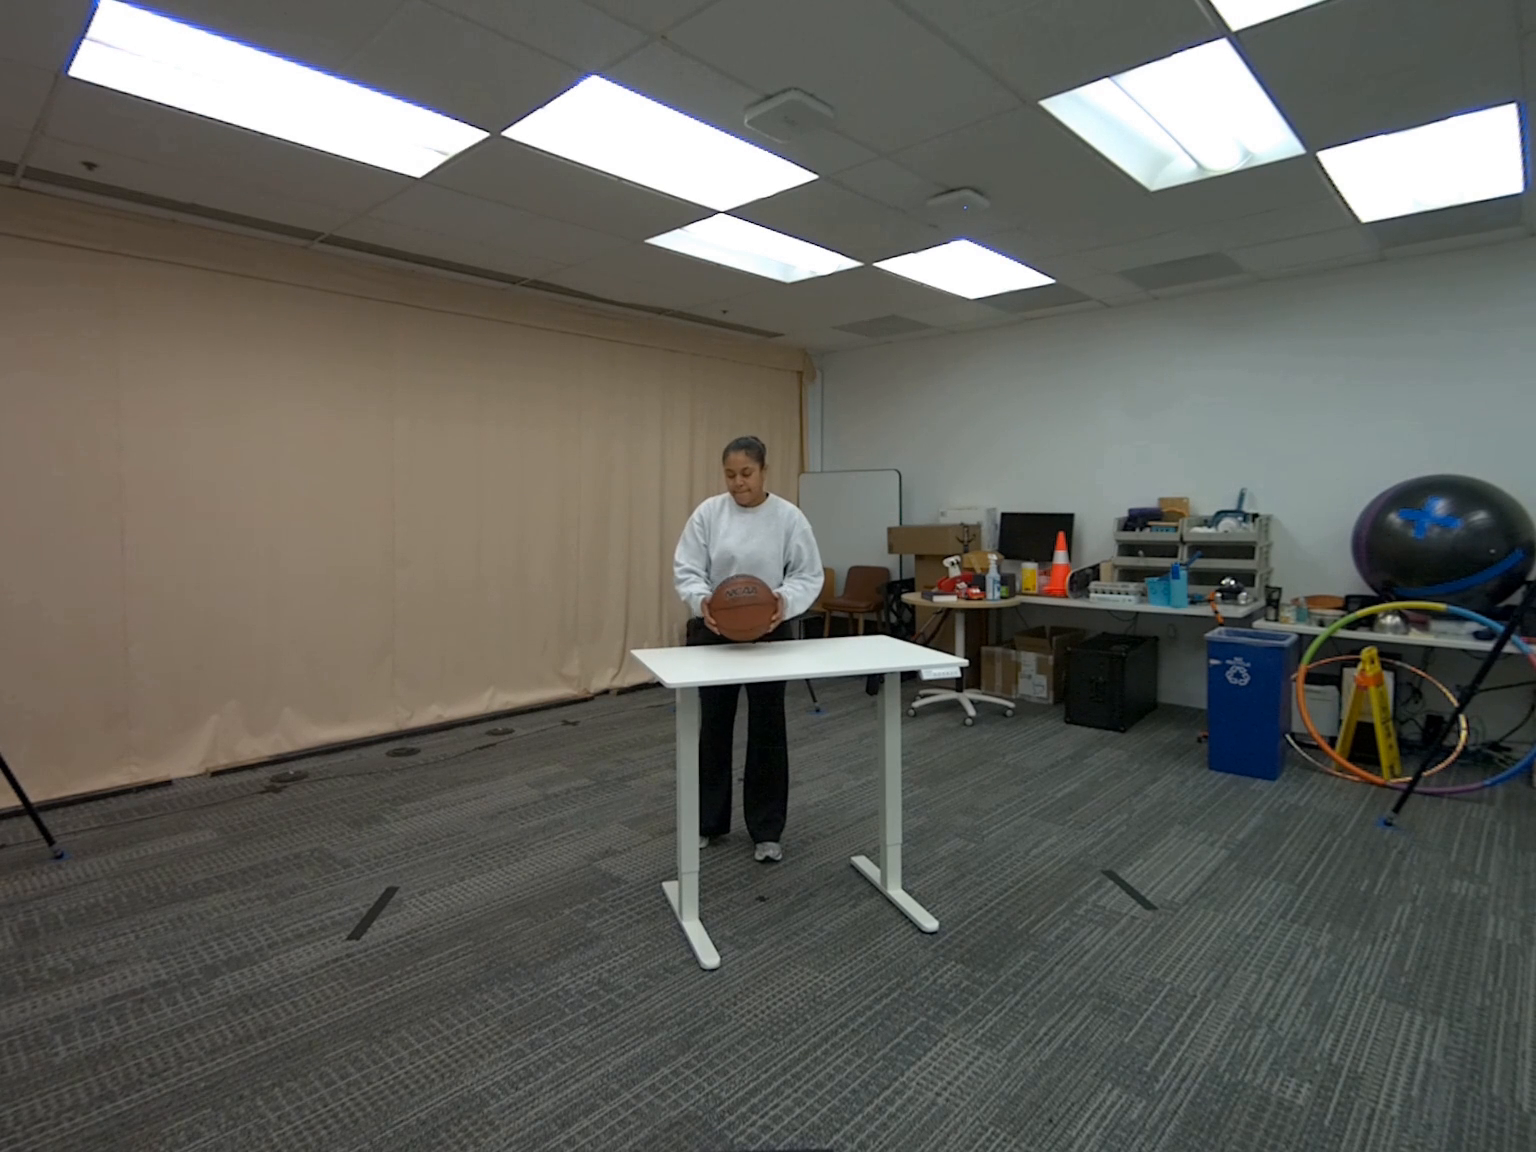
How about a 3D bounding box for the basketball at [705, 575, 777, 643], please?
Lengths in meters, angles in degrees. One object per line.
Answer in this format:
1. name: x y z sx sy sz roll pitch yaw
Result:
1. basketball: -0.094 0.111 3.022 0.236 0.235 0.237 0 4 -2
